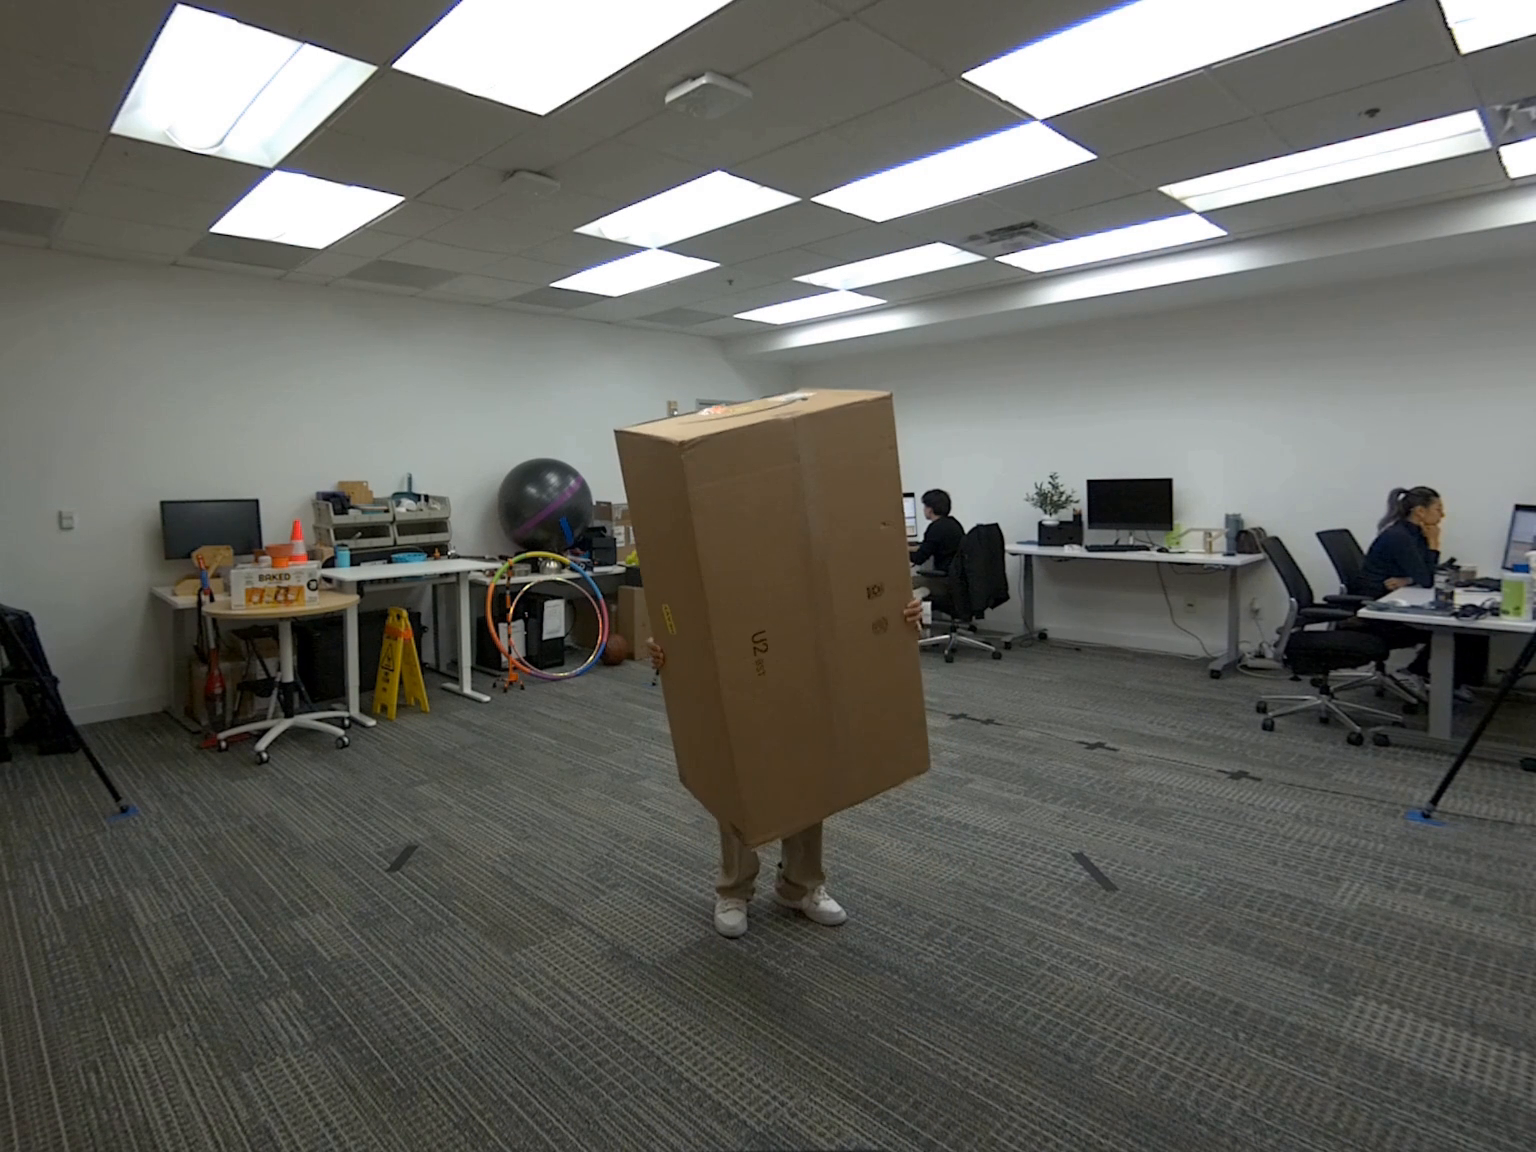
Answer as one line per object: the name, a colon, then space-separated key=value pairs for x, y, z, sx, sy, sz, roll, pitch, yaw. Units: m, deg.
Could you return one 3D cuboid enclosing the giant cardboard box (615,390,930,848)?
giant cardboard box: x=0.026 y=0.082 z=2.235 sx=0.568 sy=1.010 sz=0.440 roll=-17 pitch=17 yaw=-26
